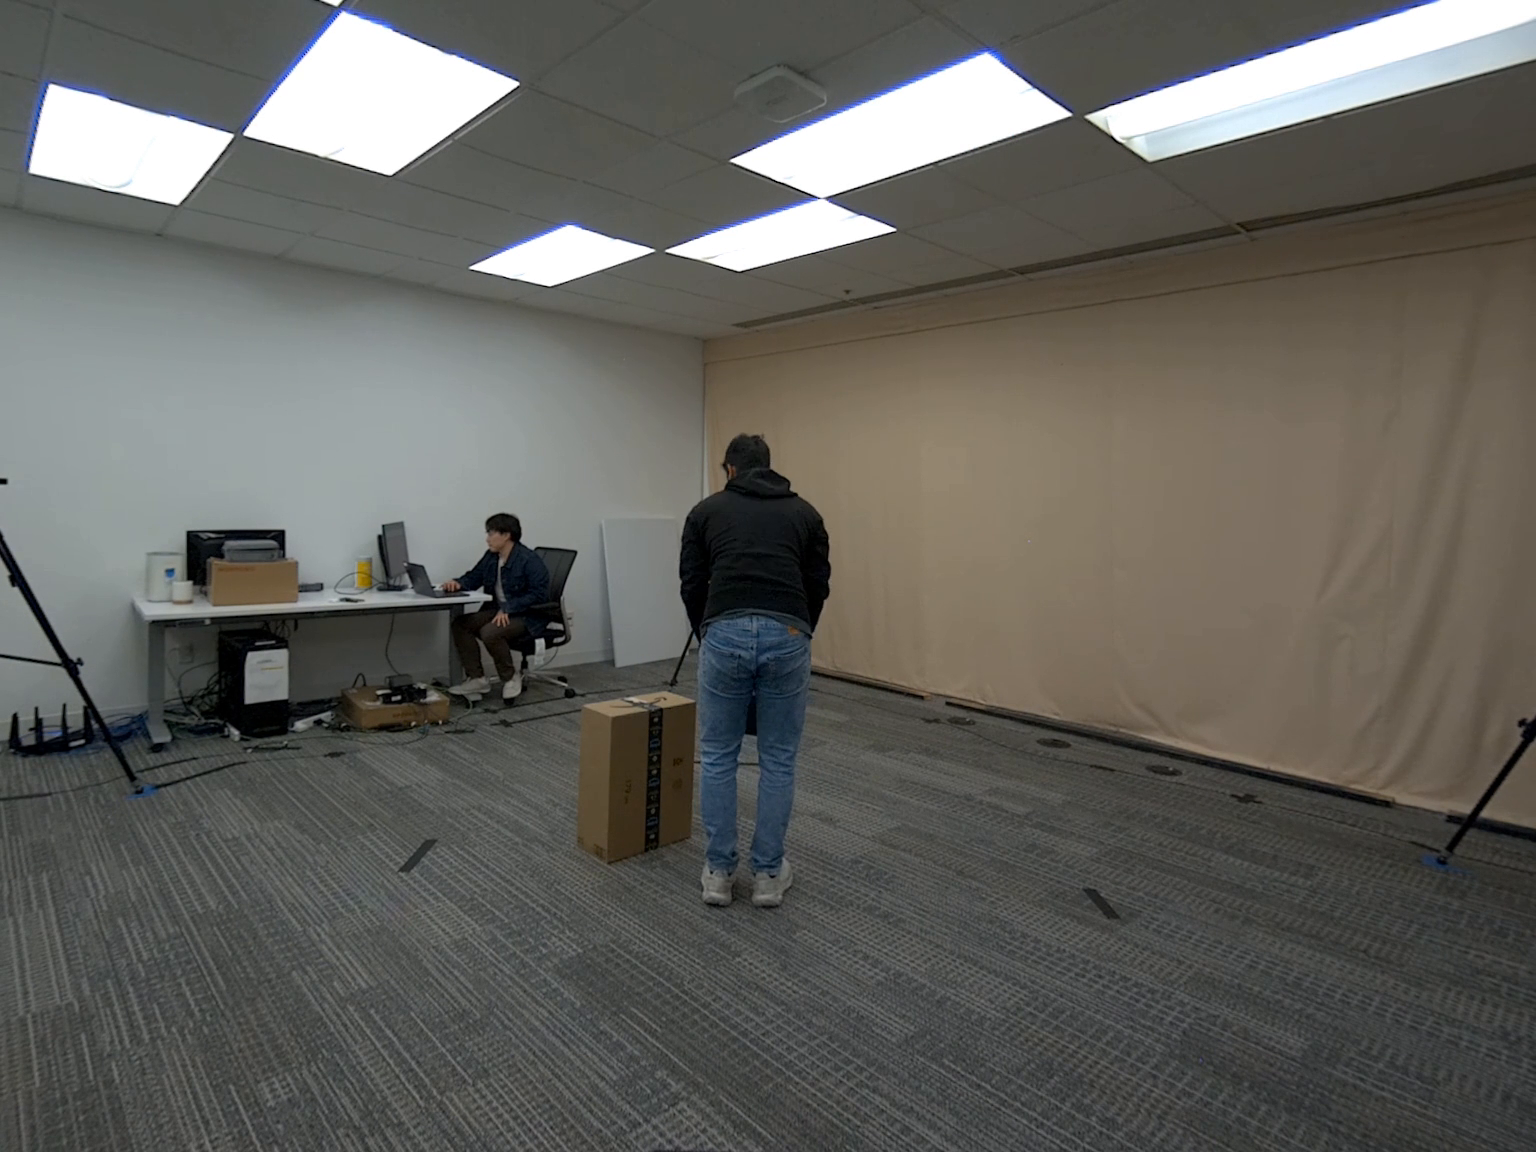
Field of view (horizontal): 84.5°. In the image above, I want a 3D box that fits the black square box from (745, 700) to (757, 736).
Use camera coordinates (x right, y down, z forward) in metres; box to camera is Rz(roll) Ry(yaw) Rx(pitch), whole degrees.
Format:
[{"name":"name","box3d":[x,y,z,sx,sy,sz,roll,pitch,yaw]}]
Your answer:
[{"name":"black square box","box3d":[-0.091,0.499,3.228,0.229,0.155,0.217,1,10,4]}]
